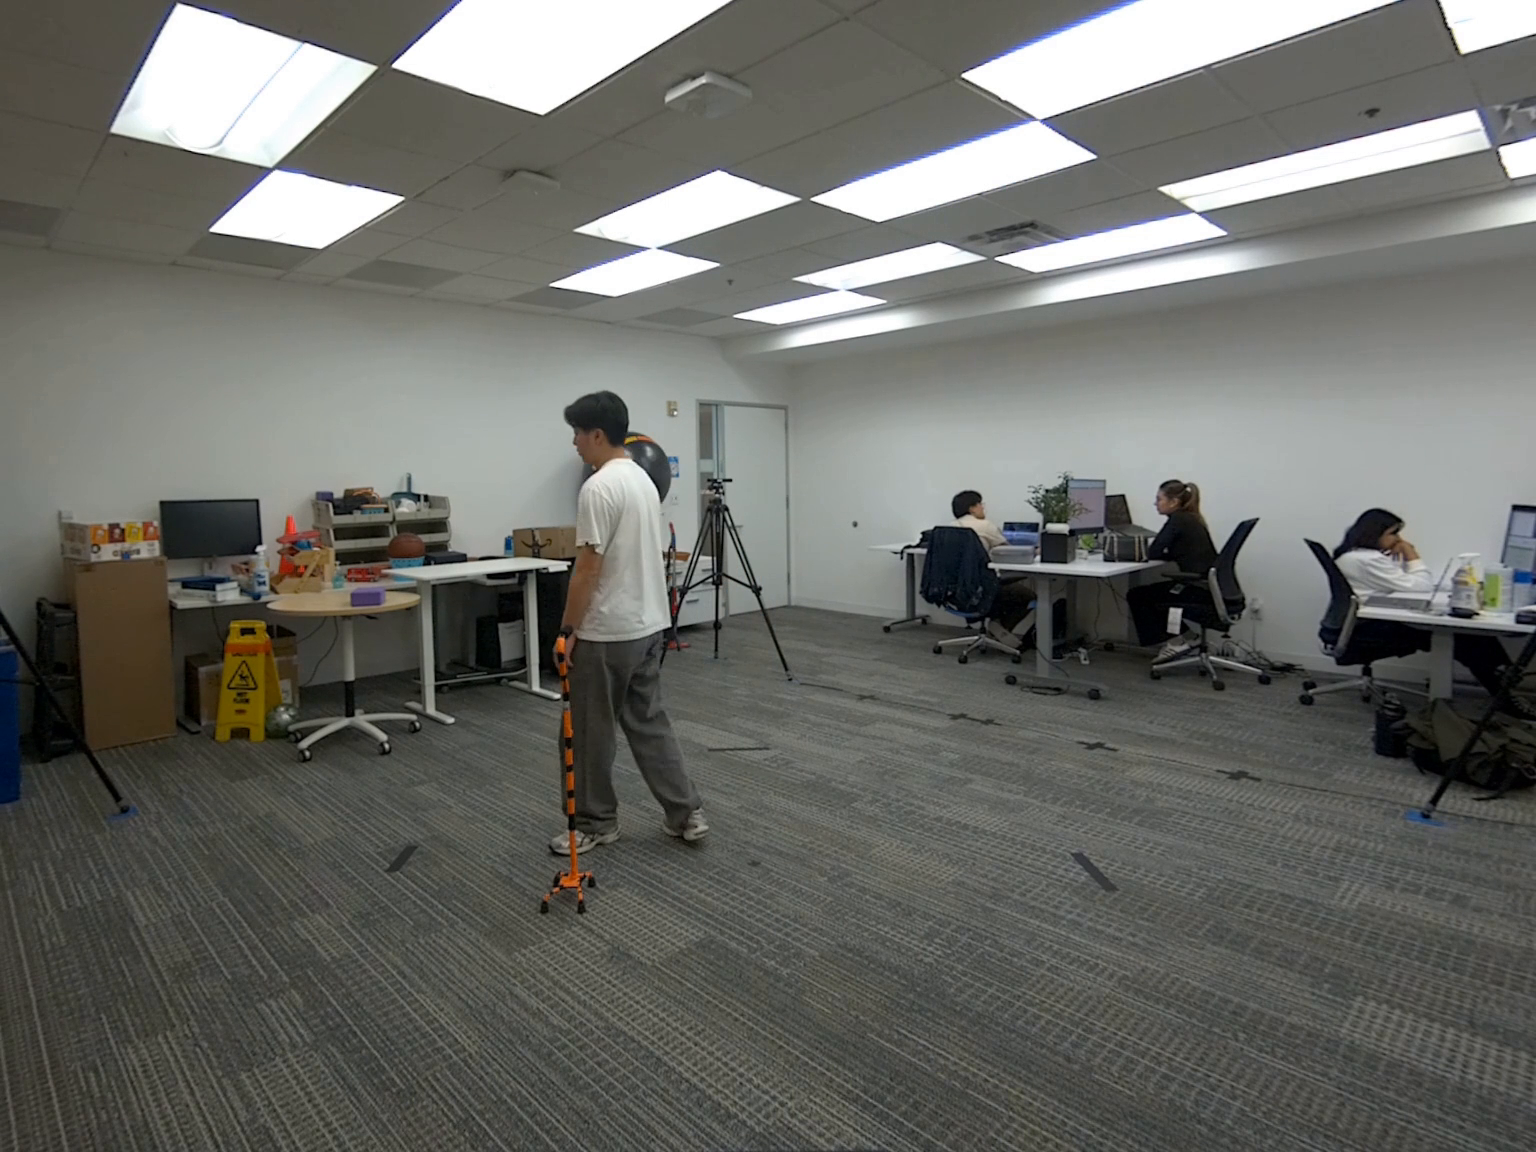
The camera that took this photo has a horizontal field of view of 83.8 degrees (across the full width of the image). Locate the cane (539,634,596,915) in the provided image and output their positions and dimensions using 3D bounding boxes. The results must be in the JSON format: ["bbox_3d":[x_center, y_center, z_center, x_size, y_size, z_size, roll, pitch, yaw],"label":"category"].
[{"bbox_3d":[-0.682,0.639,2.845,0.152,0.905,0.207,-1,4,0],"label":"cane"}]
